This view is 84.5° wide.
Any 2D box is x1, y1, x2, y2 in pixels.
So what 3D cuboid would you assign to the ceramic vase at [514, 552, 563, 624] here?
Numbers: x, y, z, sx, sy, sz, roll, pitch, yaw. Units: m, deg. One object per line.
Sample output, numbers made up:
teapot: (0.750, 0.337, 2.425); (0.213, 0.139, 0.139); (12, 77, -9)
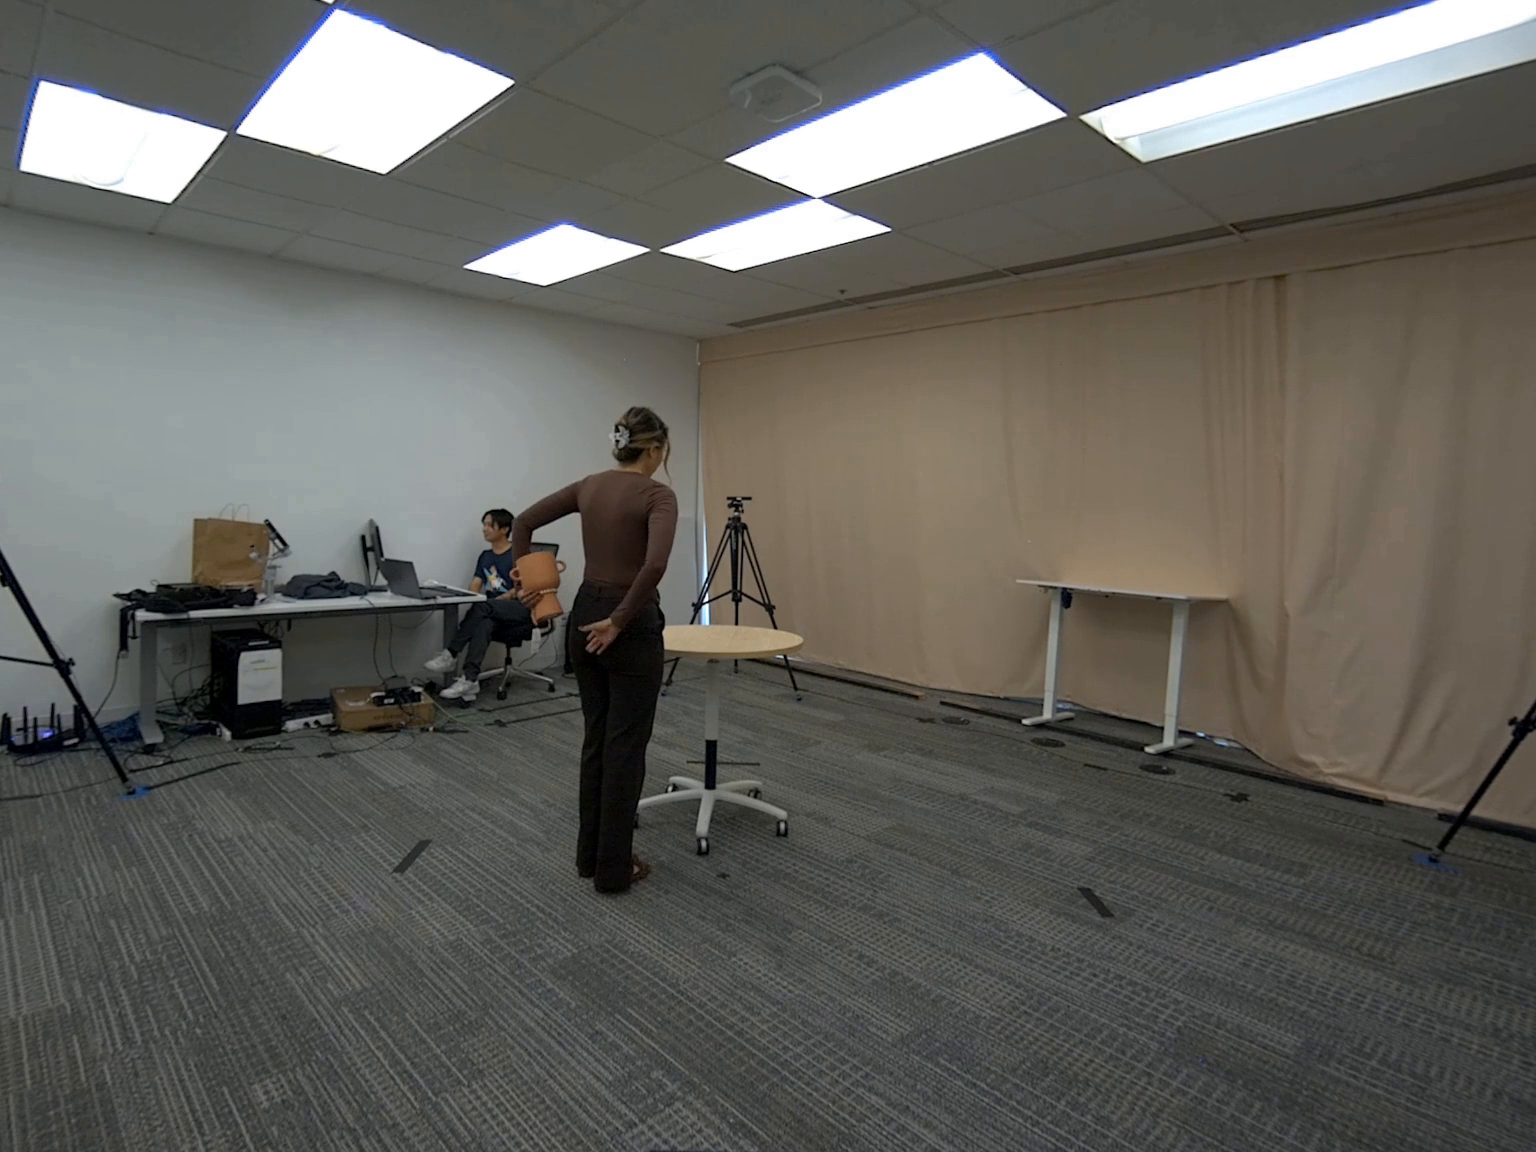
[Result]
ceramic vase: (-0.803, 0.038, 2.947); (0.160, 0.222, 0.132); (-21, -12, 14)
